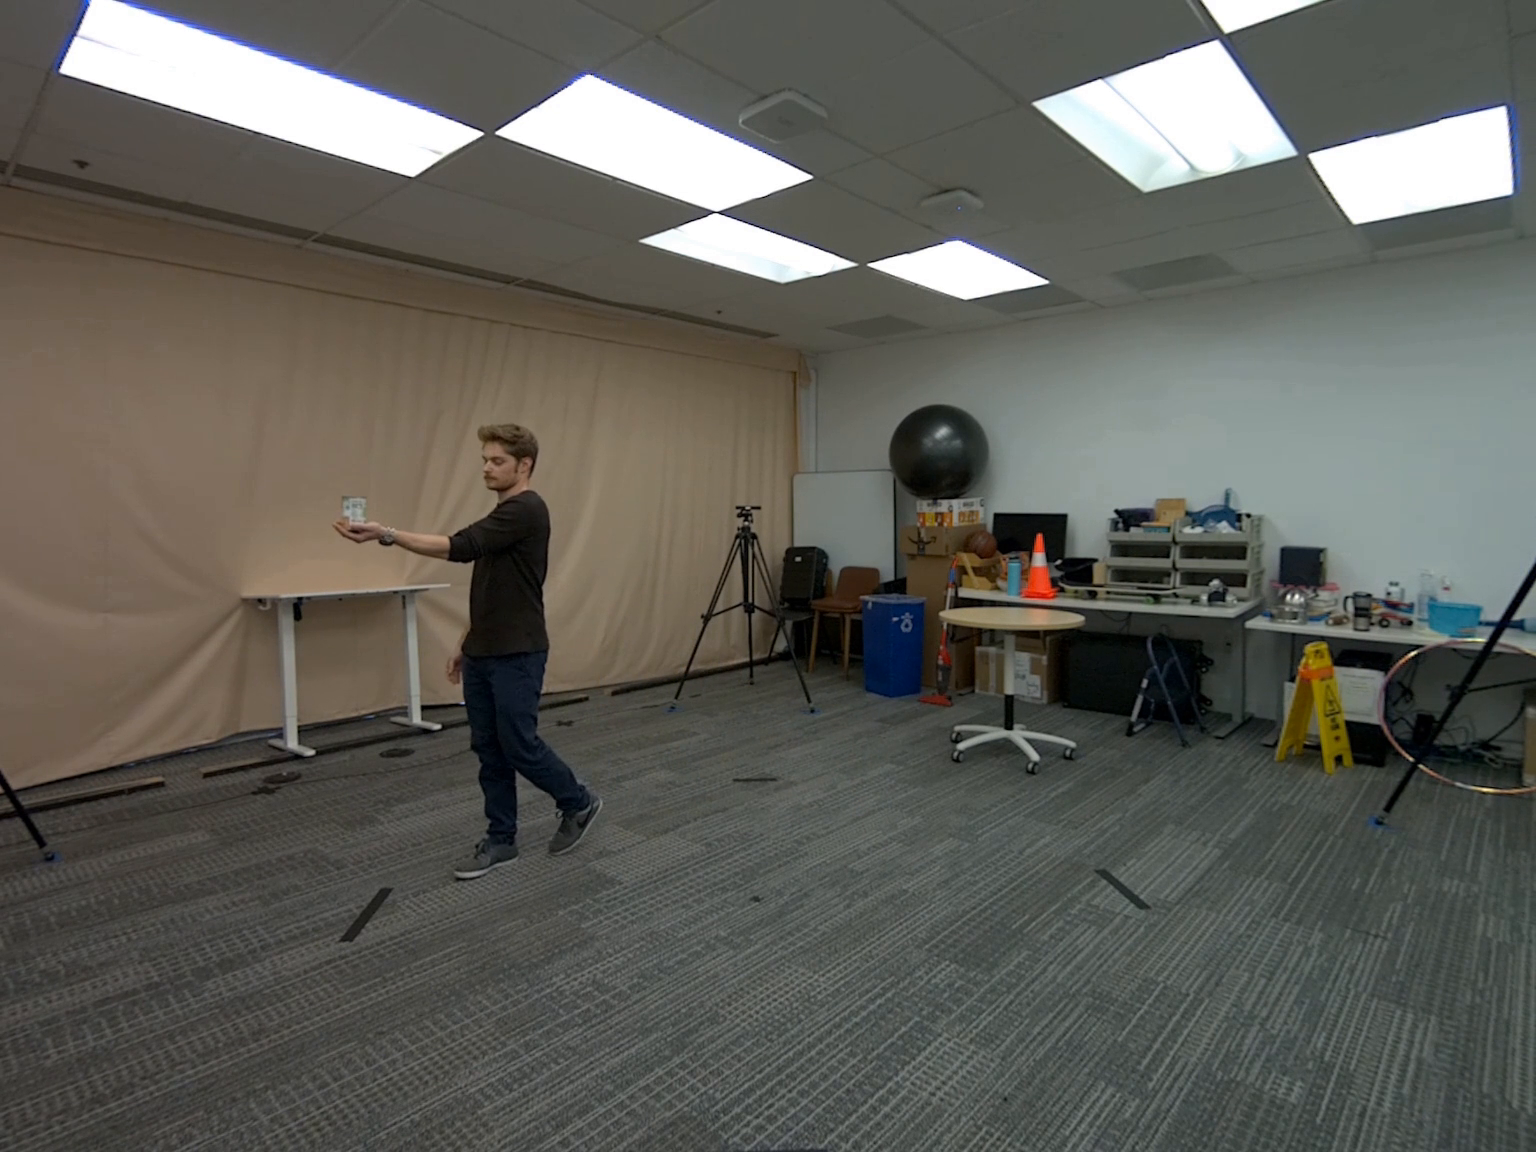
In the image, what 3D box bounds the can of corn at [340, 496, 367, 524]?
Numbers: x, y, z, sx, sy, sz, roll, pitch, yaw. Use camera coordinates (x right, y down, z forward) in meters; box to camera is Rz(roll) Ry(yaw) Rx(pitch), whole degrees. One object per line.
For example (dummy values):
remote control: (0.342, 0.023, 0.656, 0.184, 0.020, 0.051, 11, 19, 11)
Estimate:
can of corn: (-1.377, -0.208, 2.813, 0.074, 0.111, 0.074, 2, 1, -2)
